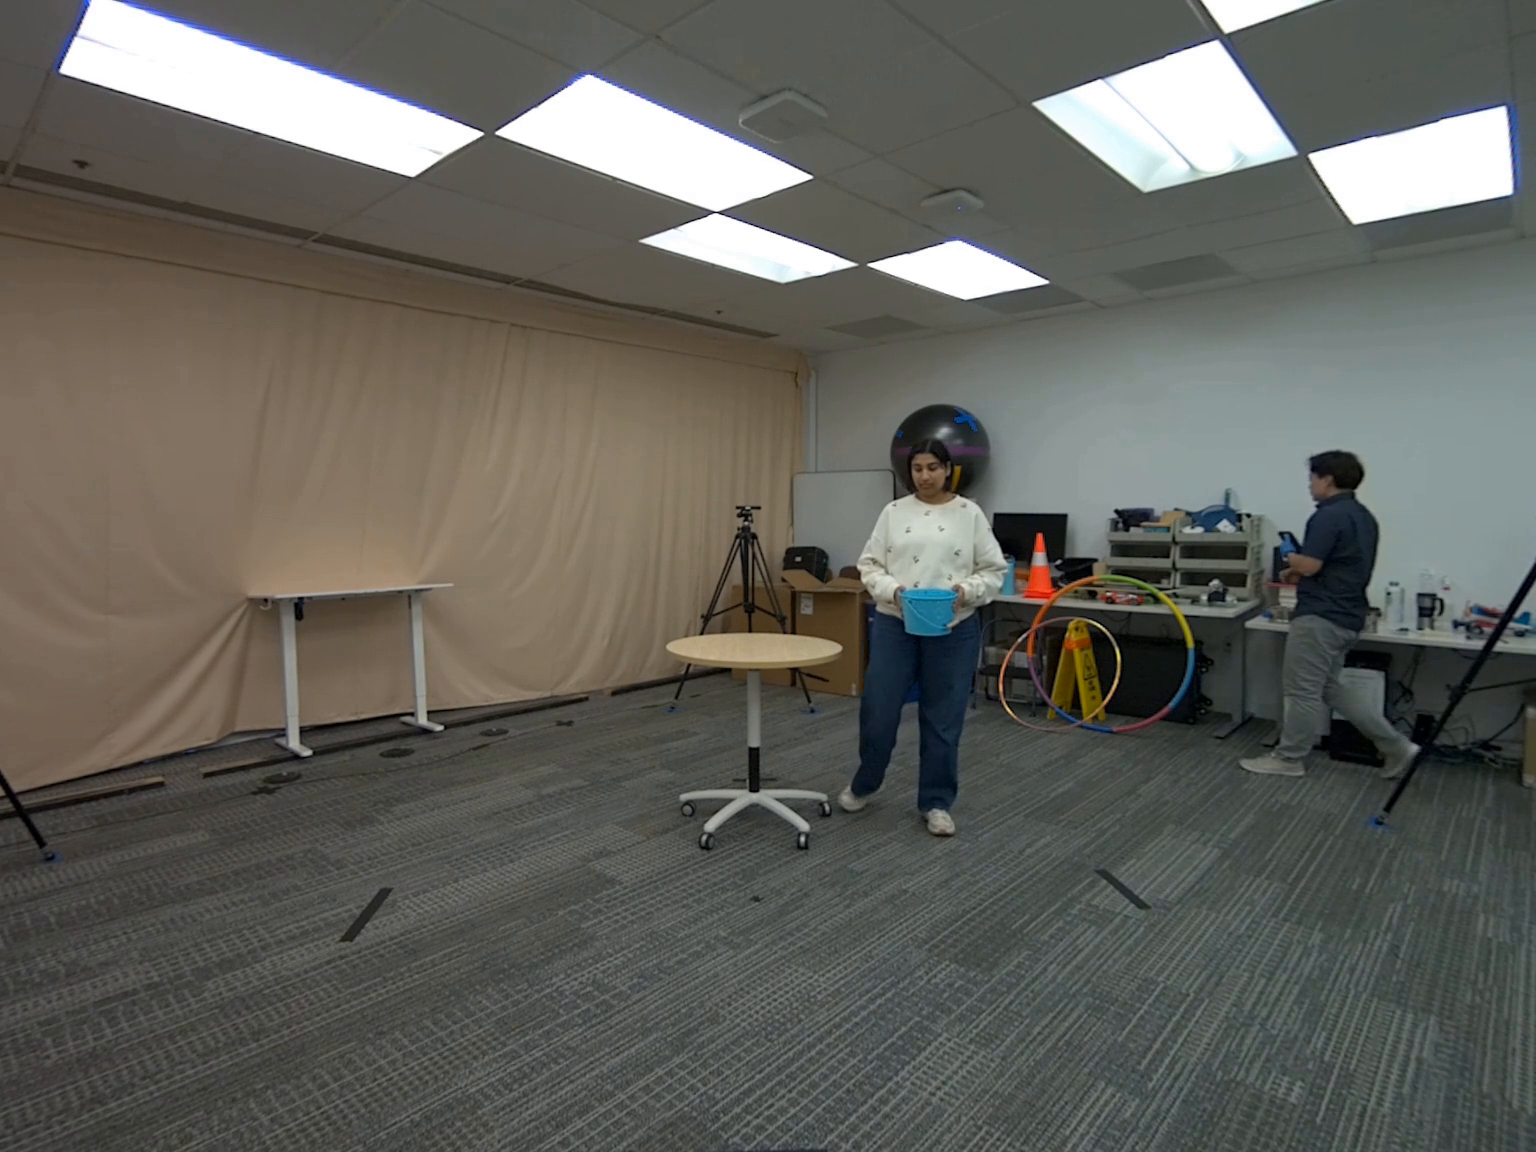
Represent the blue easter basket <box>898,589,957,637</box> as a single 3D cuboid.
[{"bbox_3d":[0.647,0.148,3.376,0.243,0.155,0.245,0,7,-2],"label":"blue easter basket"}]
